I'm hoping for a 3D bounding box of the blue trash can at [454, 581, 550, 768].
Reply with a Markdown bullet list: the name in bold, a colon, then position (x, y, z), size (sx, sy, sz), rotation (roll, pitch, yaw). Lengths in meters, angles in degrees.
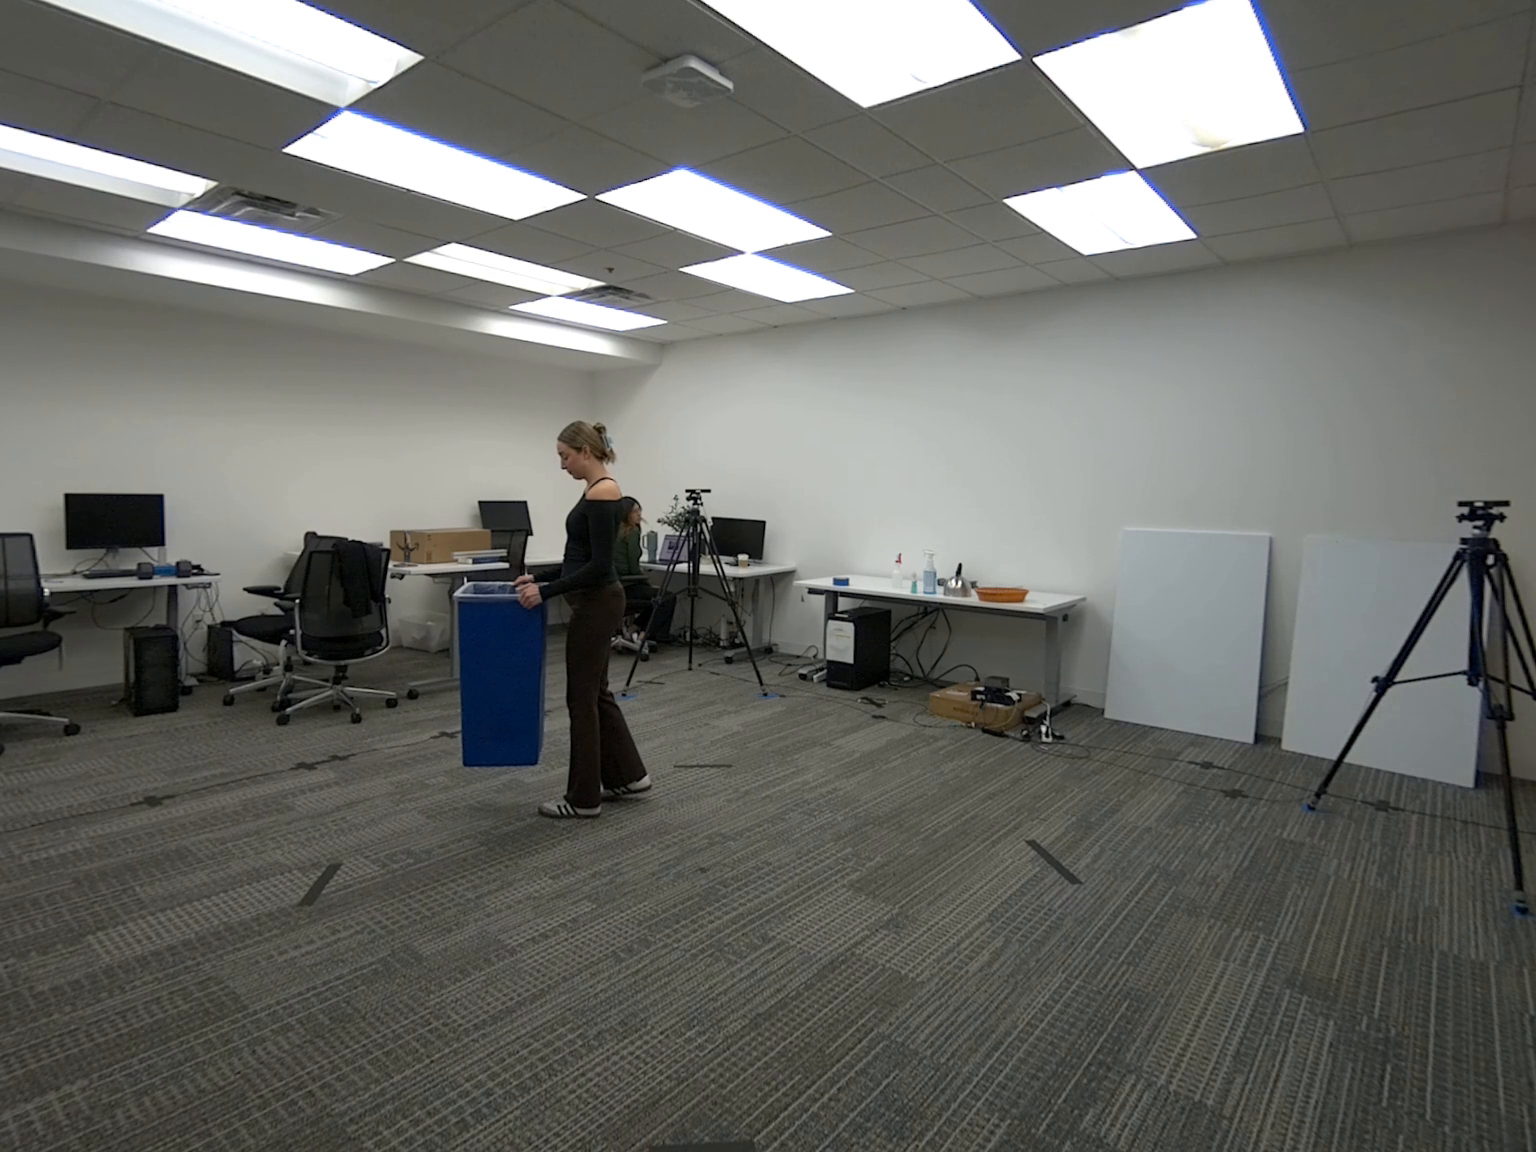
- **blue trash can**: position (-1.129, 0.410, 3.588), size (0.374, 0.711, 0.379), rotation (0, 4, -9)
